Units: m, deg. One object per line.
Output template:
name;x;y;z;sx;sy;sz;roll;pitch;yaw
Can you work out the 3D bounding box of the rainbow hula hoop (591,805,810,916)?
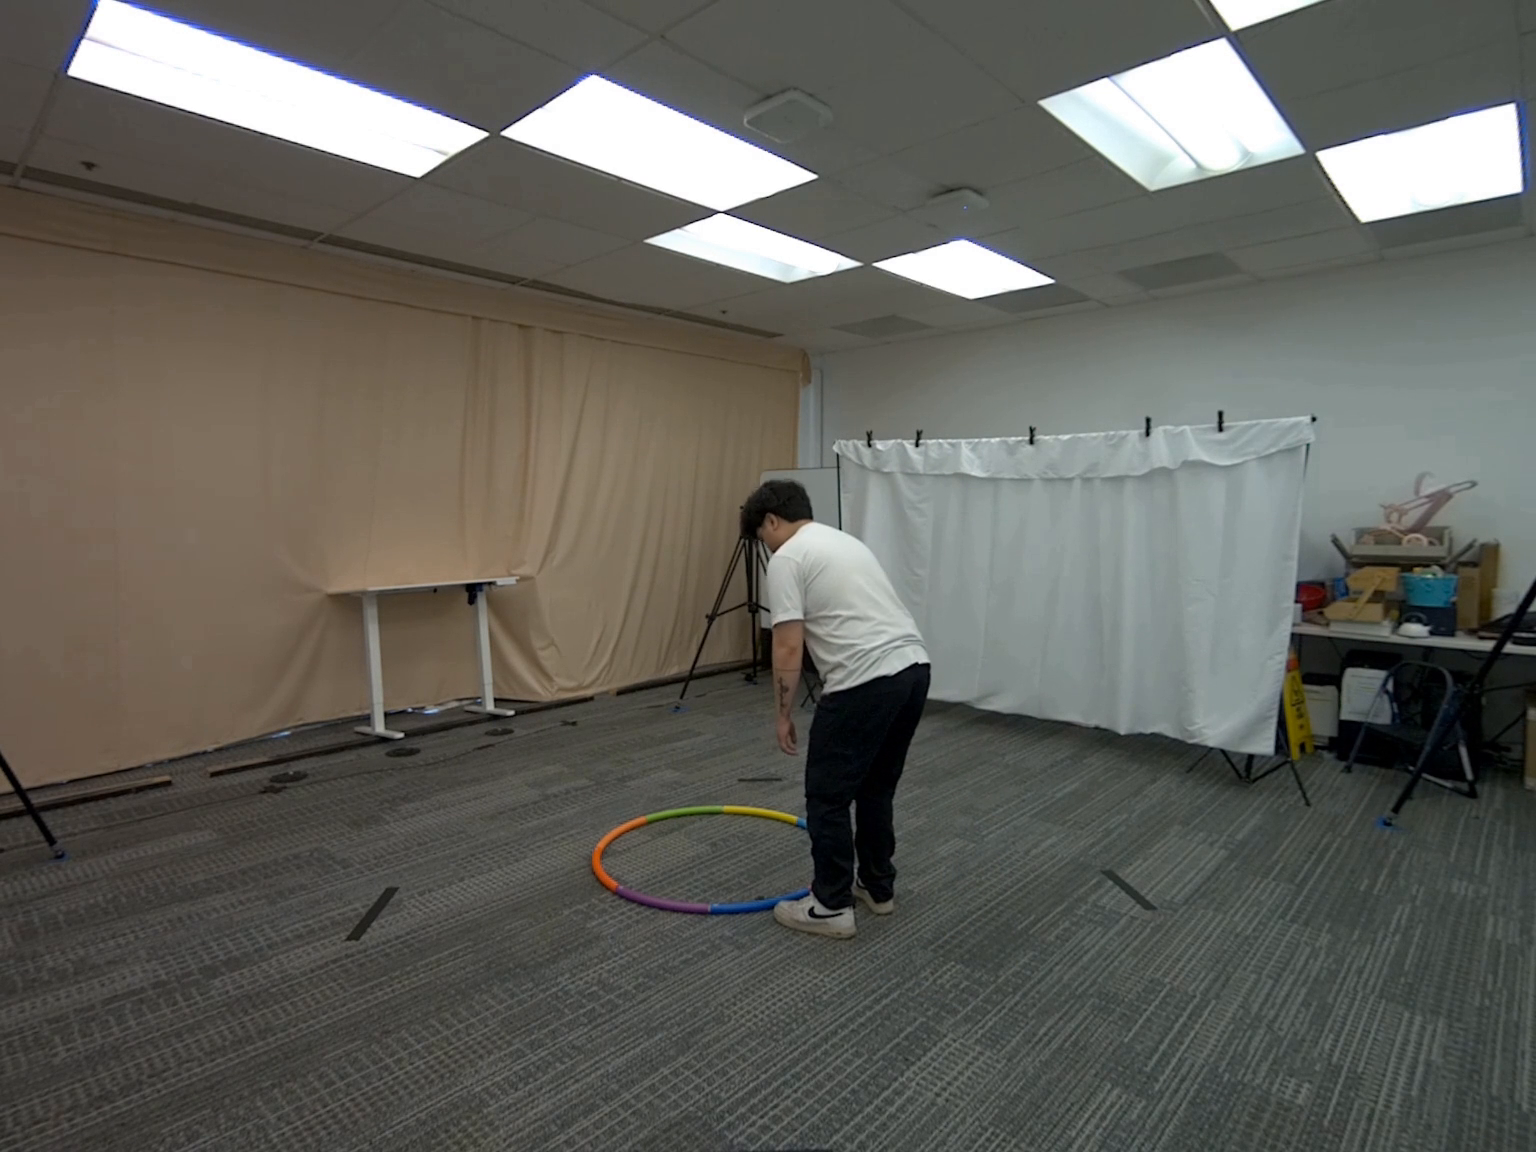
rainbow hula hoop;-0.203;1.089;3.349;0.985;0.051;0.989;0;5;-2
